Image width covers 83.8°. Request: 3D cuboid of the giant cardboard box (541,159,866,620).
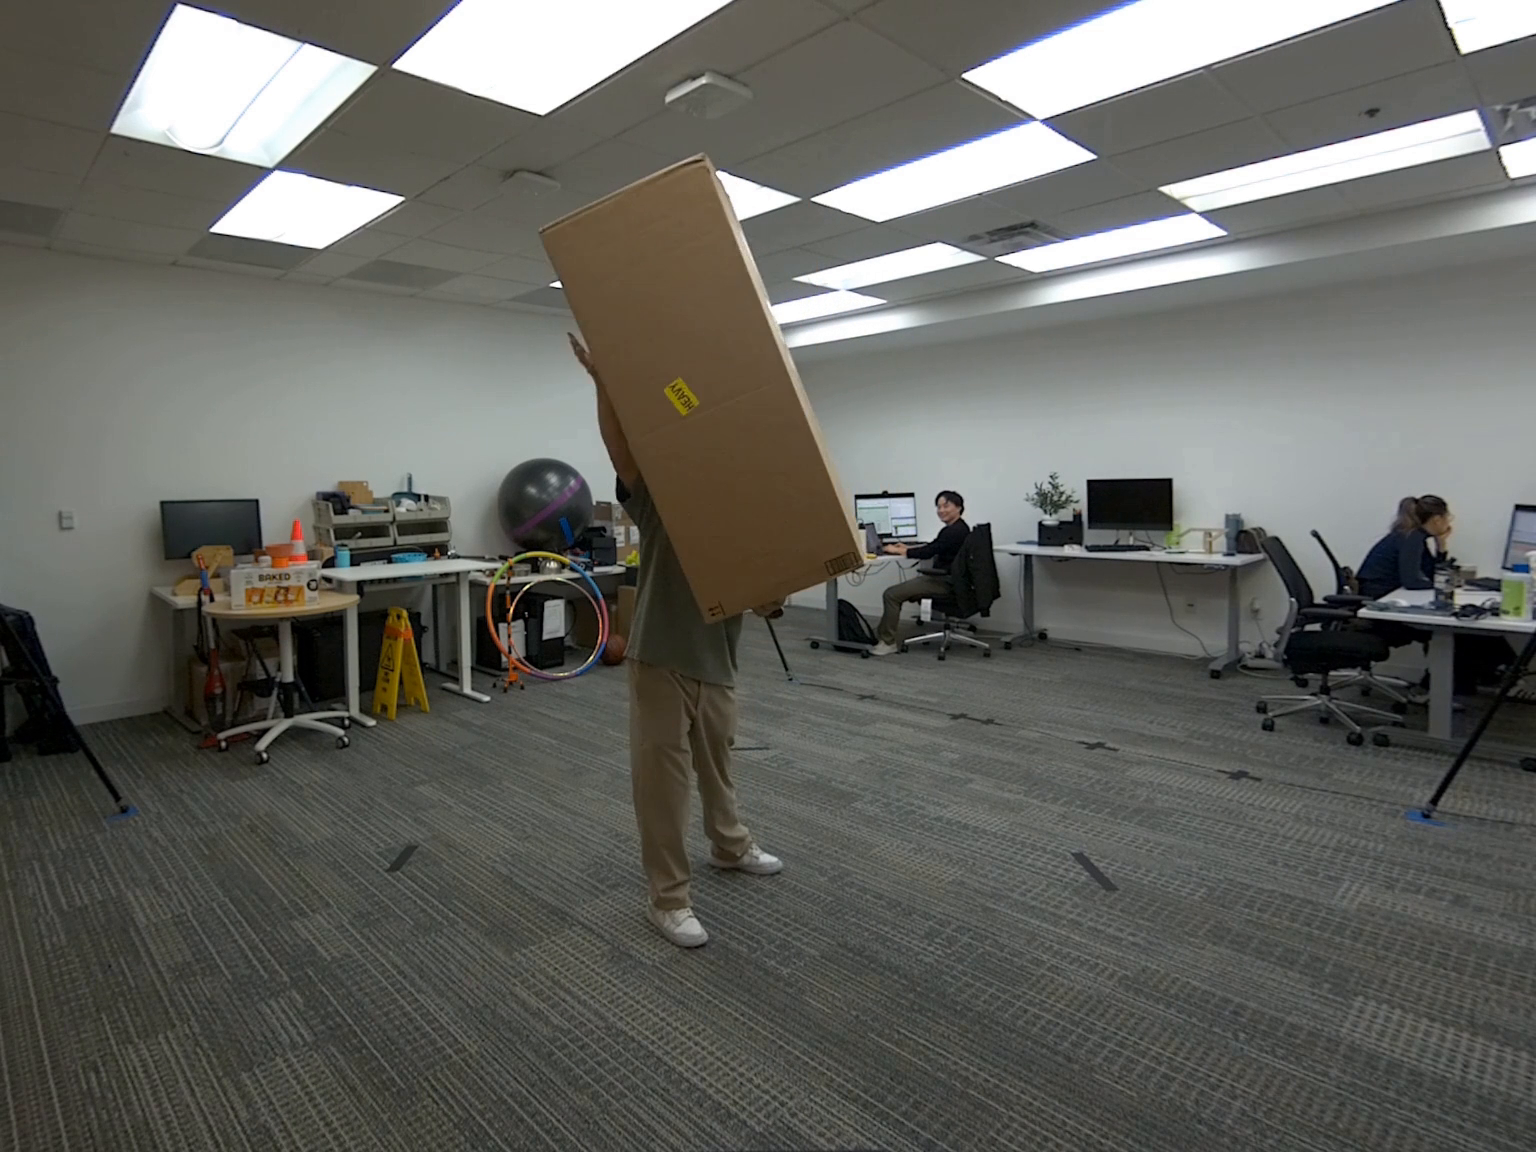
[{"bbox_3d":[-0.128,-0.470,2.288,0.428,1.014,0.581,-22,10,9],"label":"giant cardboard box"}]
